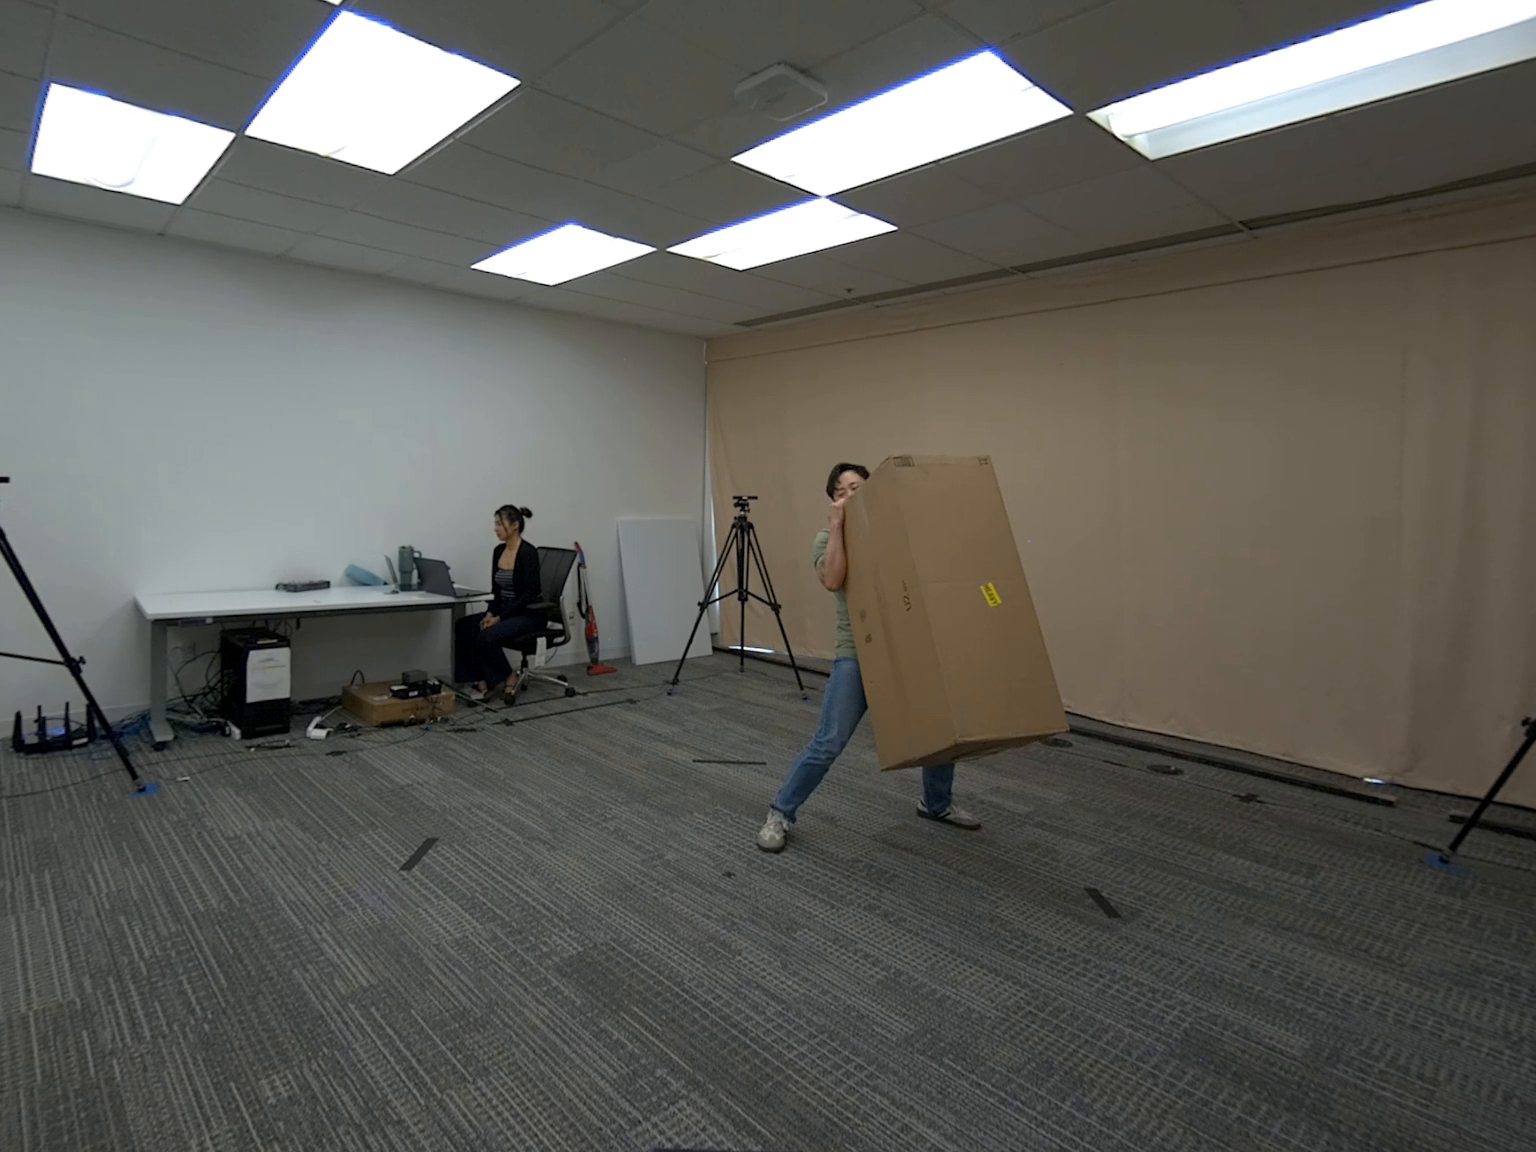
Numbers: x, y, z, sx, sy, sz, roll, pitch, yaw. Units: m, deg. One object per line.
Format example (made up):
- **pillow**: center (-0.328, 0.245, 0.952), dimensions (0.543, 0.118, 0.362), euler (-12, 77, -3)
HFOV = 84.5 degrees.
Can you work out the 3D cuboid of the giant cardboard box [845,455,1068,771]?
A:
- **giant cardboard box**: center (0.618, 0.144, 3.120), dimensions (0.420, 1.043, 0.576), euler (-2, -21, -20)
